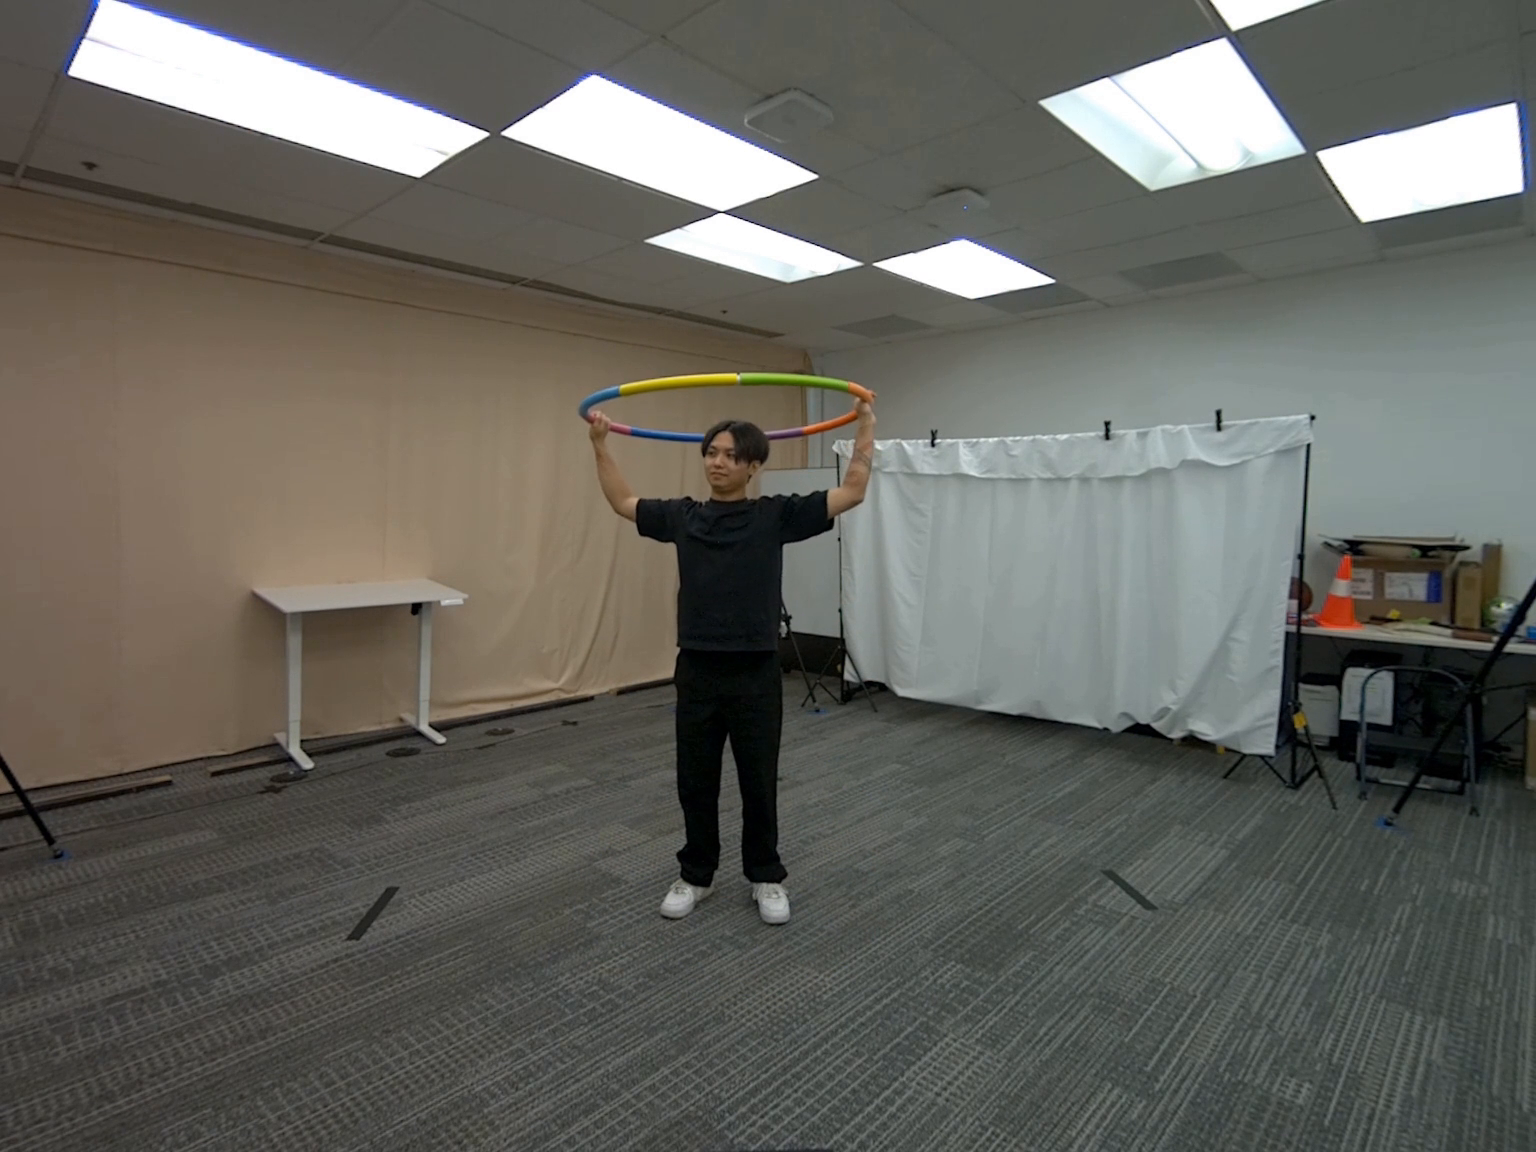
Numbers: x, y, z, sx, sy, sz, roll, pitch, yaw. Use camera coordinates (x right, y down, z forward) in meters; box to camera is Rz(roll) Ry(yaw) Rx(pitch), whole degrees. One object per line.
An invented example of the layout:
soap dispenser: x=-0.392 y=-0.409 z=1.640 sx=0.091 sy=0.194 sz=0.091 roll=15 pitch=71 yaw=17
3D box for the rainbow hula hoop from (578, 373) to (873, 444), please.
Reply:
rainbow hula hoop: x=-0.147 y=-0.557 z=2.890 sx=0.978 sy=0.035 sz=0.978 roll=-1 pitch=-1 yaw=-2
